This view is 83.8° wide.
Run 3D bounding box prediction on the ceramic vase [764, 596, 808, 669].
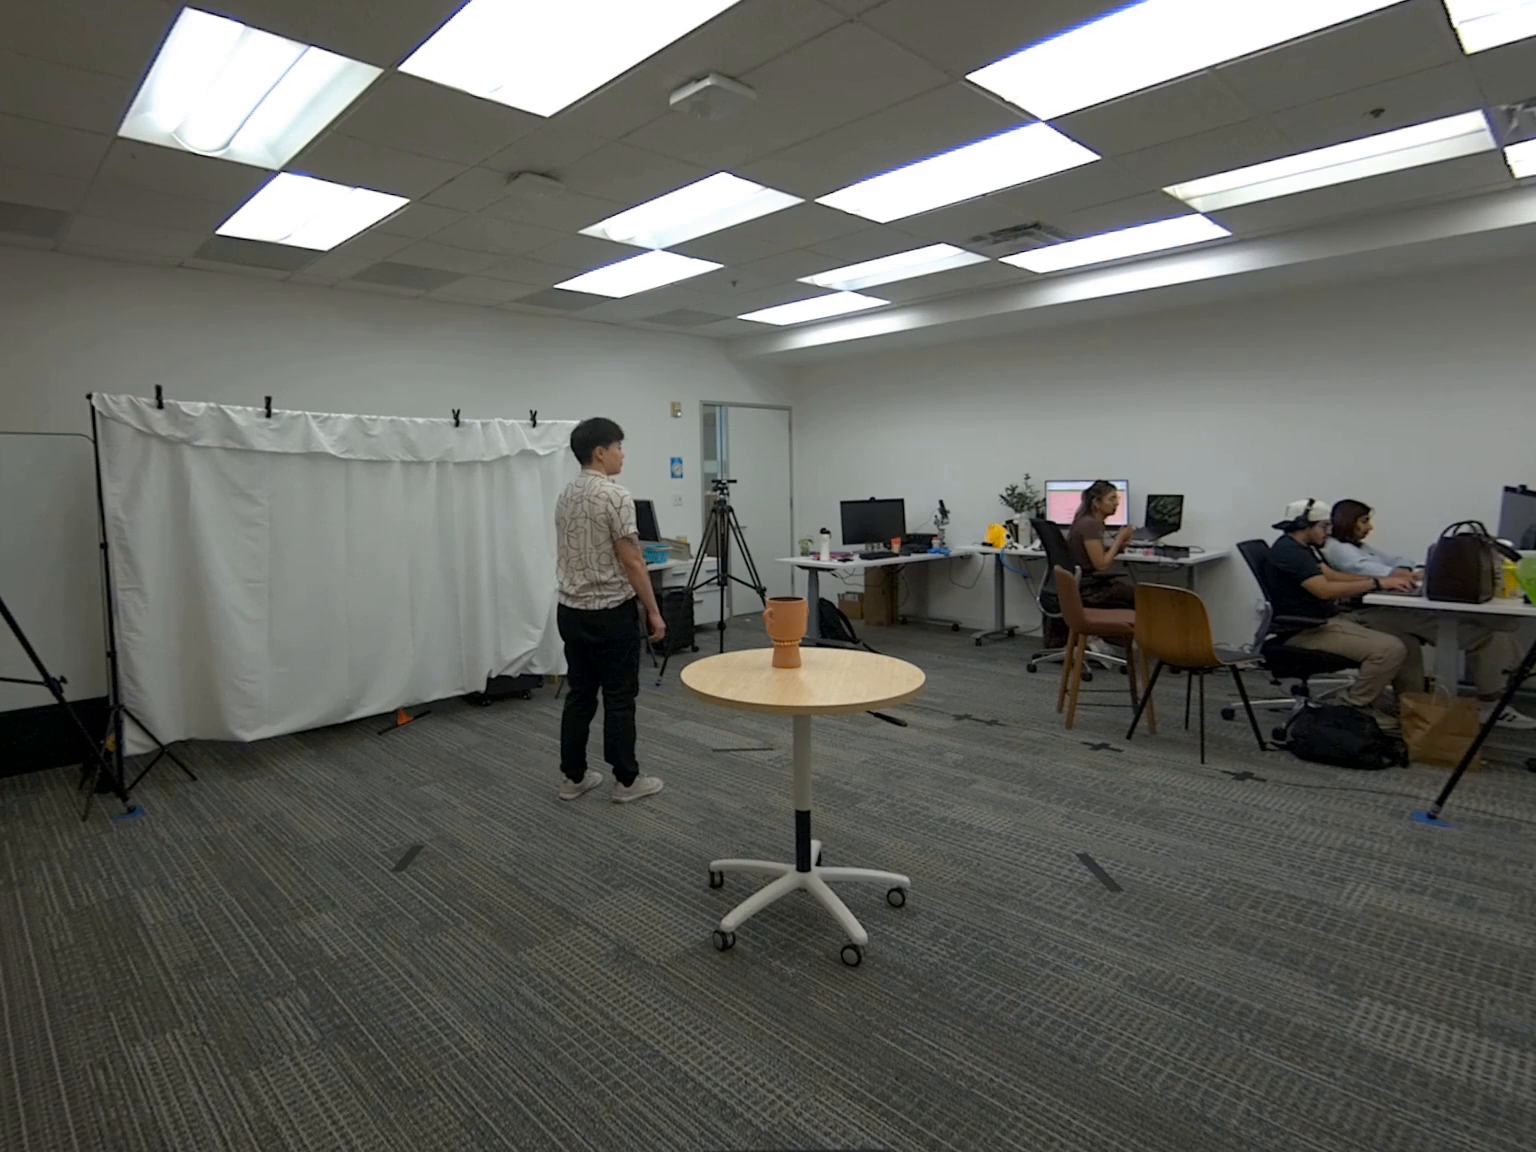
[{"bbox_3d":[0.064,0.185,2.805,0.159,0.219,0.135,0,3,-1],"label":"ceramic vase"}]
